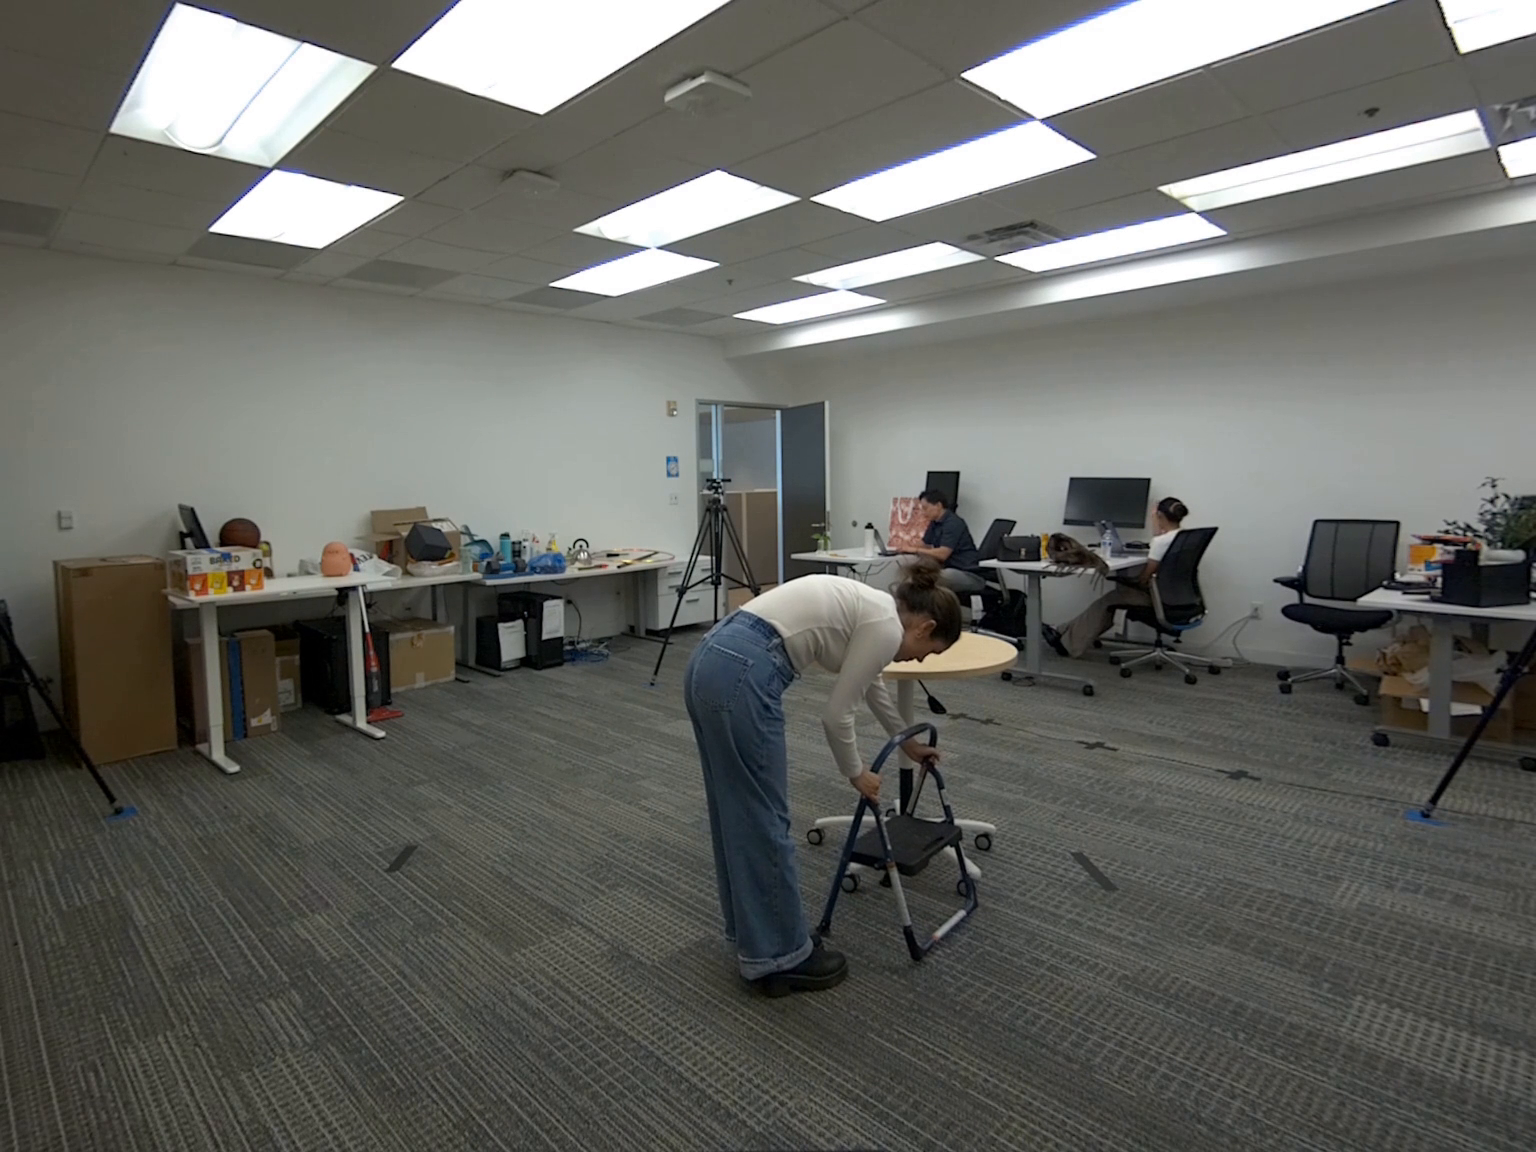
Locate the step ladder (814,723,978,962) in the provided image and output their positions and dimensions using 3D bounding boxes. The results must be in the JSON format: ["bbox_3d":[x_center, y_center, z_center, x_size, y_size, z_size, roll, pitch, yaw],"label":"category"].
[{"bbox_3d":[0.394,0.762,2.658,0.359,0.605,0.419,-1,2,38],"label":"step ladder"}]
